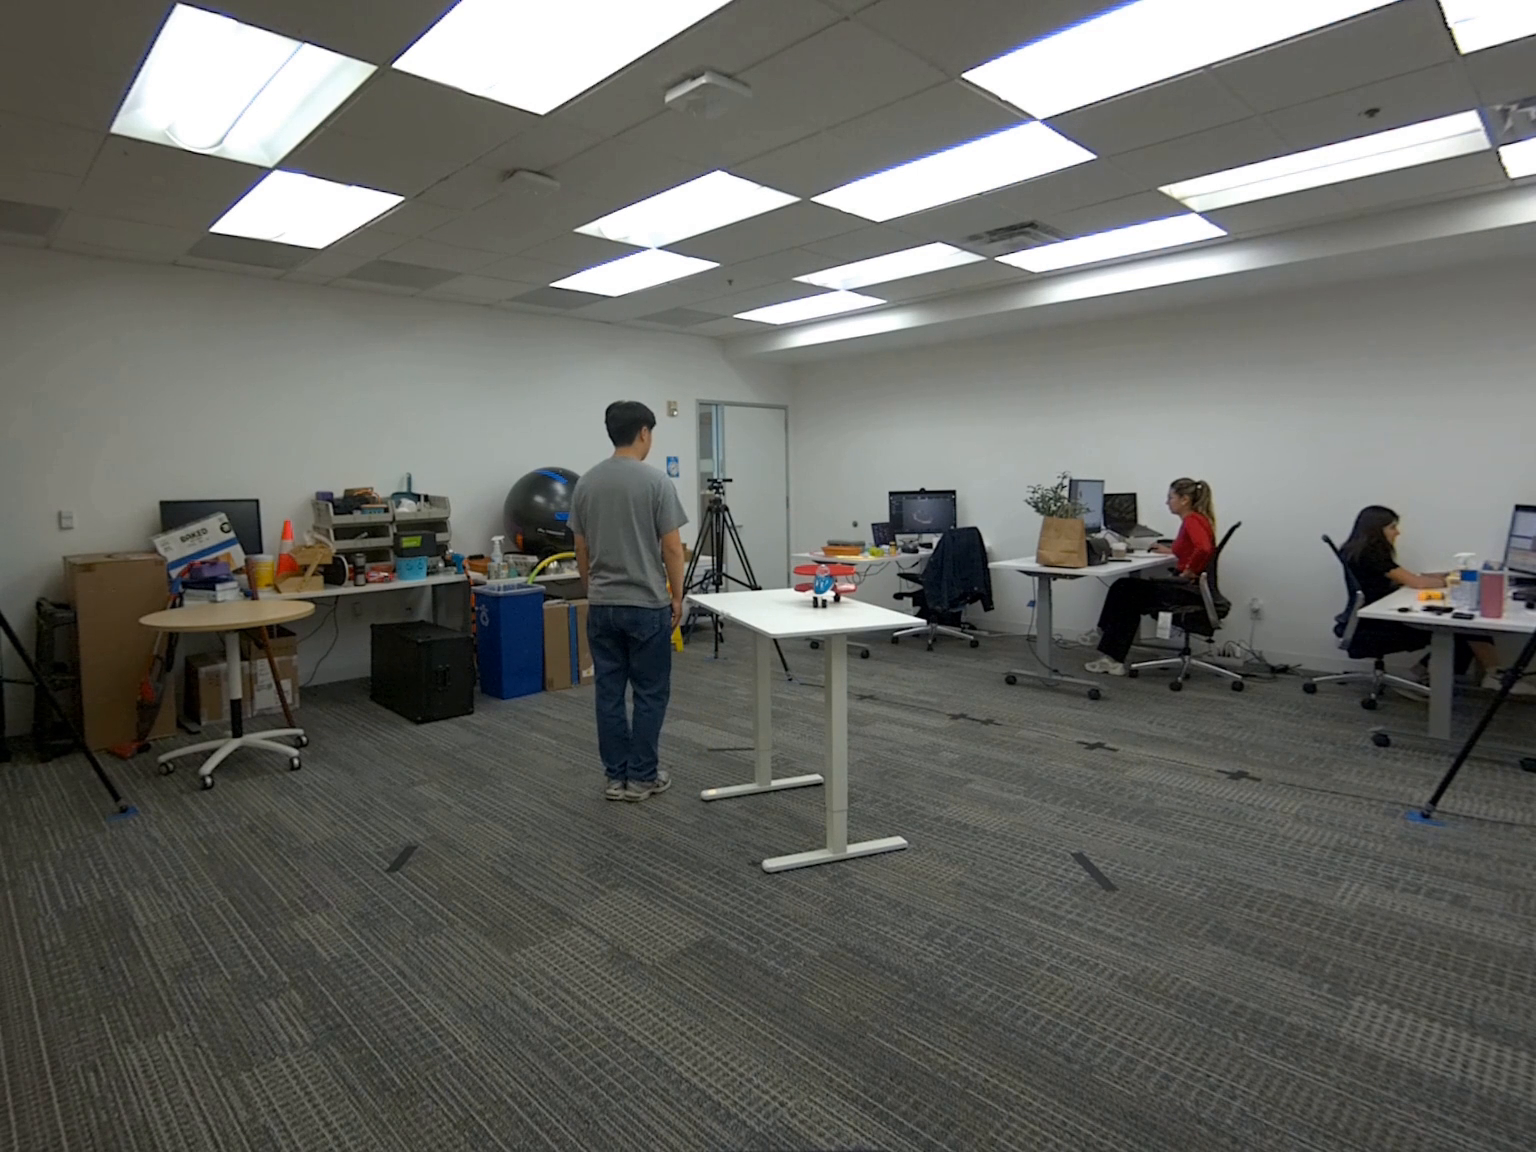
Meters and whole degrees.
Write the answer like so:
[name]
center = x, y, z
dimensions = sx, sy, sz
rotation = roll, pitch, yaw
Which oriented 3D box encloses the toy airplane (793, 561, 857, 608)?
[toy airplane]
center = 0.246, 0.038, 3.470
dimensions = 0.248, 0.156, 0.263
rotation = -4, 5, -14
